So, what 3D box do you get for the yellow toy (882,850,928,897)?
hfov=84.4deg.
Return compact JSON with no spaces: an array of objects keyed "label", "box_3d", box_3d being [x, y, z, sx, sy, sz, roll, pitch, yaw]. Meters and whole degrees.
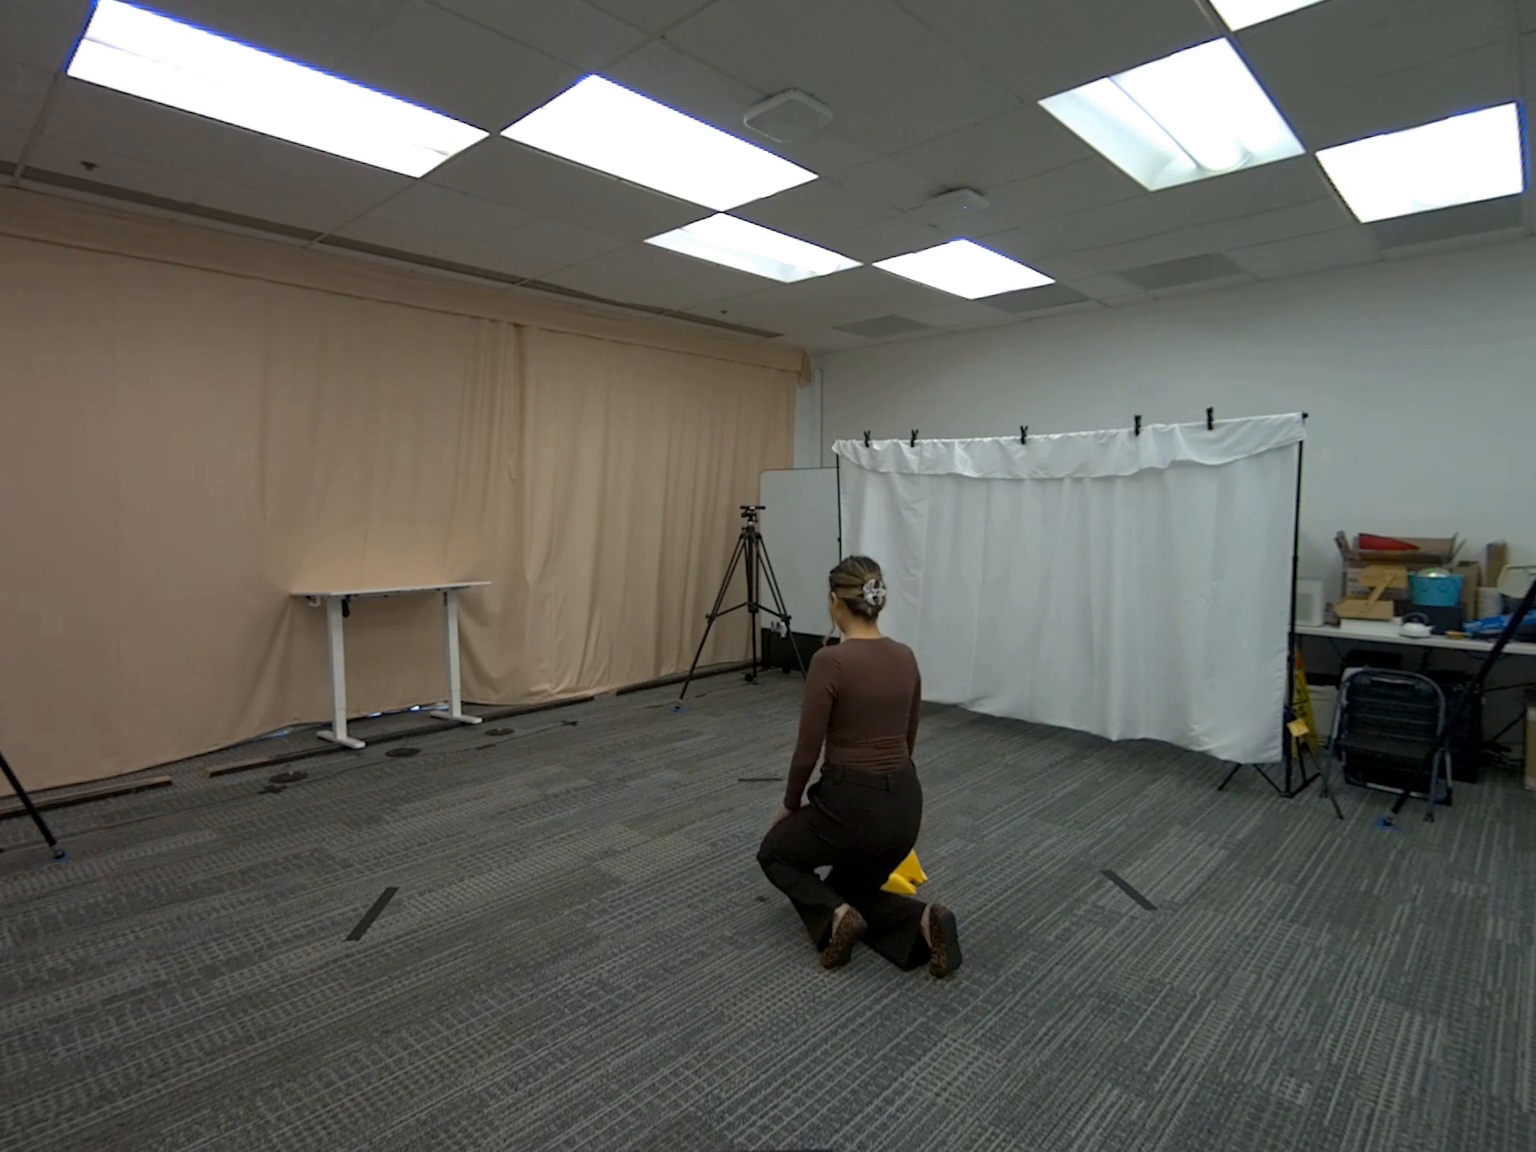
[{"label":"yellow toy","box_3d":[0.485,1.020,3.115,0.199,0.230,0.199,1,3,32]}]
